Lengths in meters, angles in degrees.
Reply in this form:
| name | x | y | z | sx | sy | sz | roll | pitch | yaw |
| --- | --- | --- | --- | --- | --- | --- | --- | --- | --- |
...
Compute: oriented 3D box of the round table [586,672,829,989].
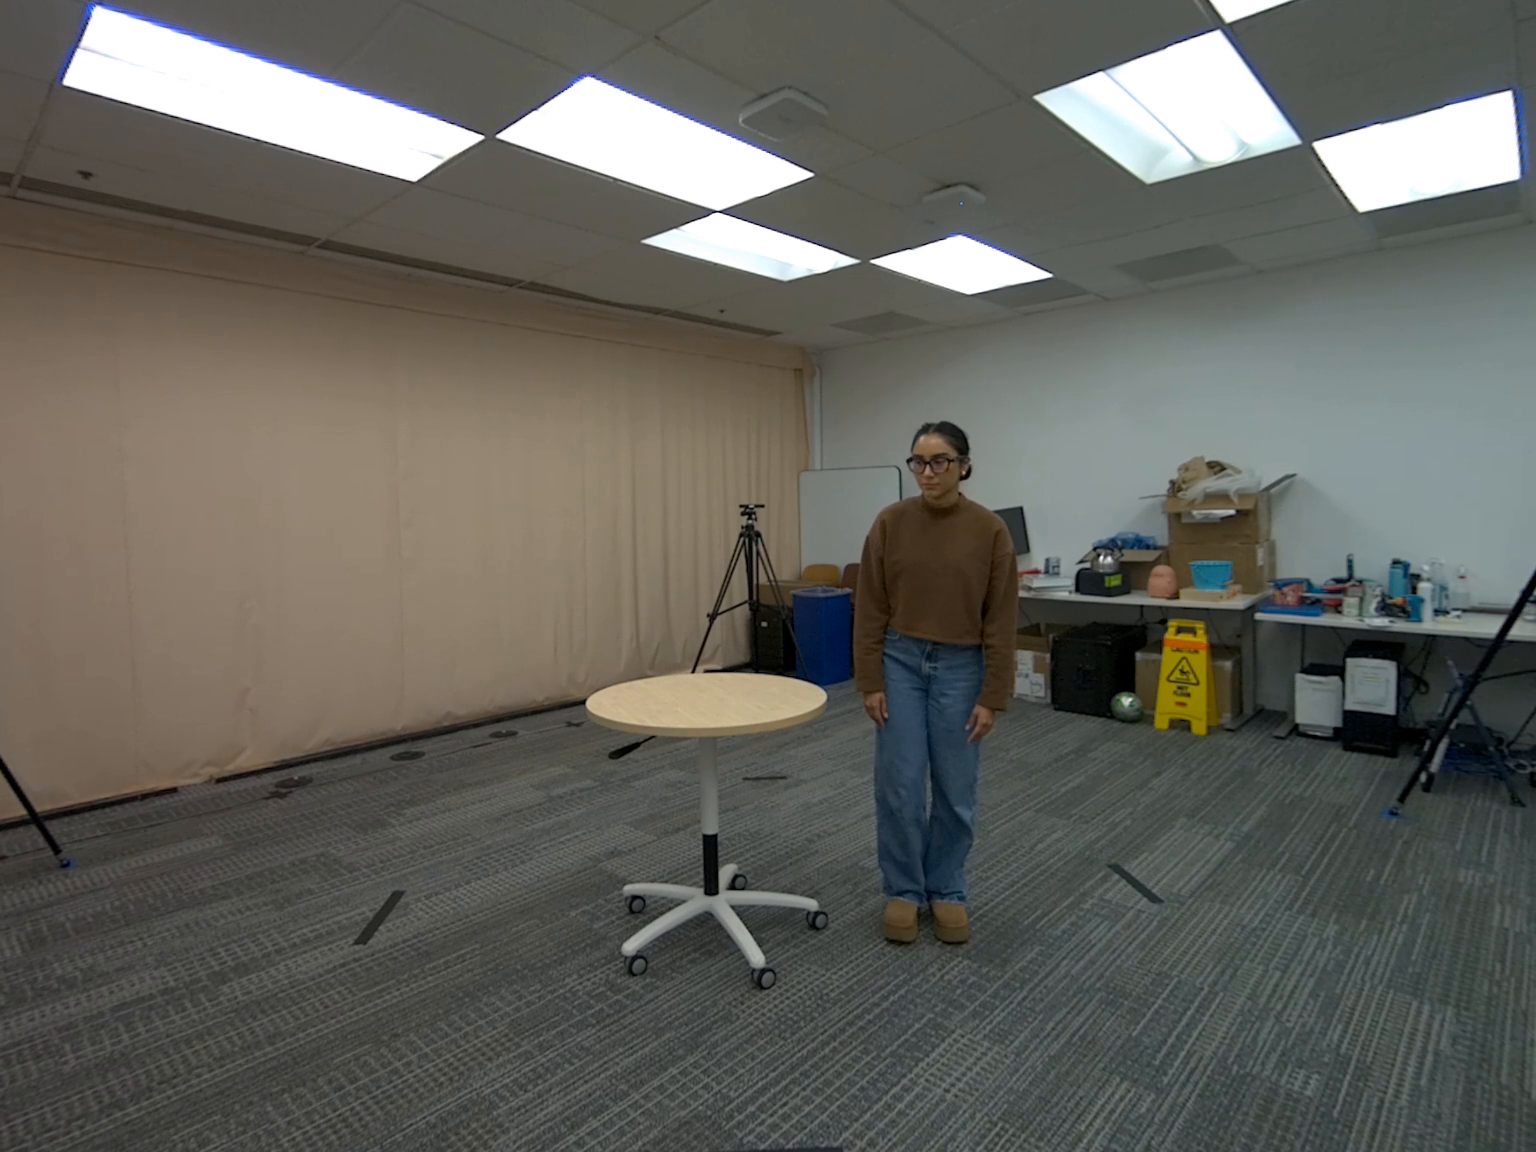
| name | x | y | z | sx | sy | sz | roll | pitch | yaw |
| --- | --- | --- | --- | --- | --- | --- | --- | --- | --- |
| round table | -0.183 | 0.782 | 2.707 | 0.763 | 0.792 | 0.767 | -1 | 4 | -2 |
